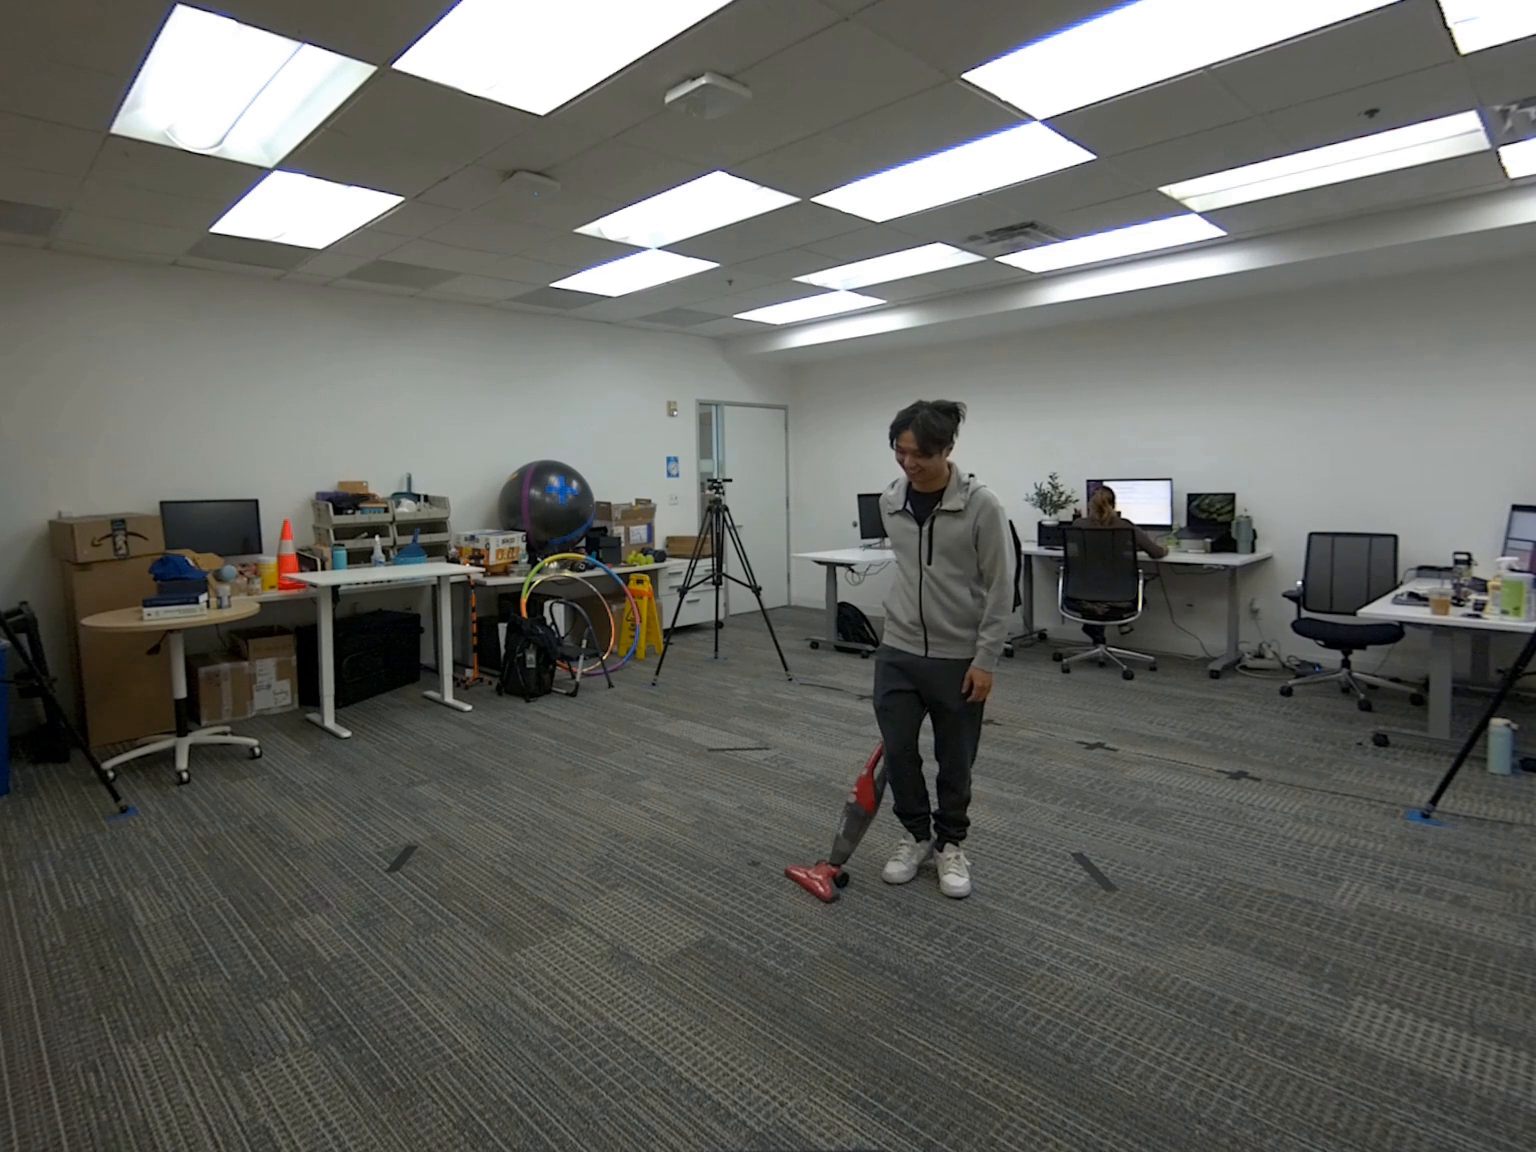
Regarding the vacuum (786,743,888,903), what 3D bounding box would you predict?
[{"bbox_3d":[0.422,0.641,3.075,0.139,1.053,0.260,43,-20,-32],"label":"vacuum"}]
